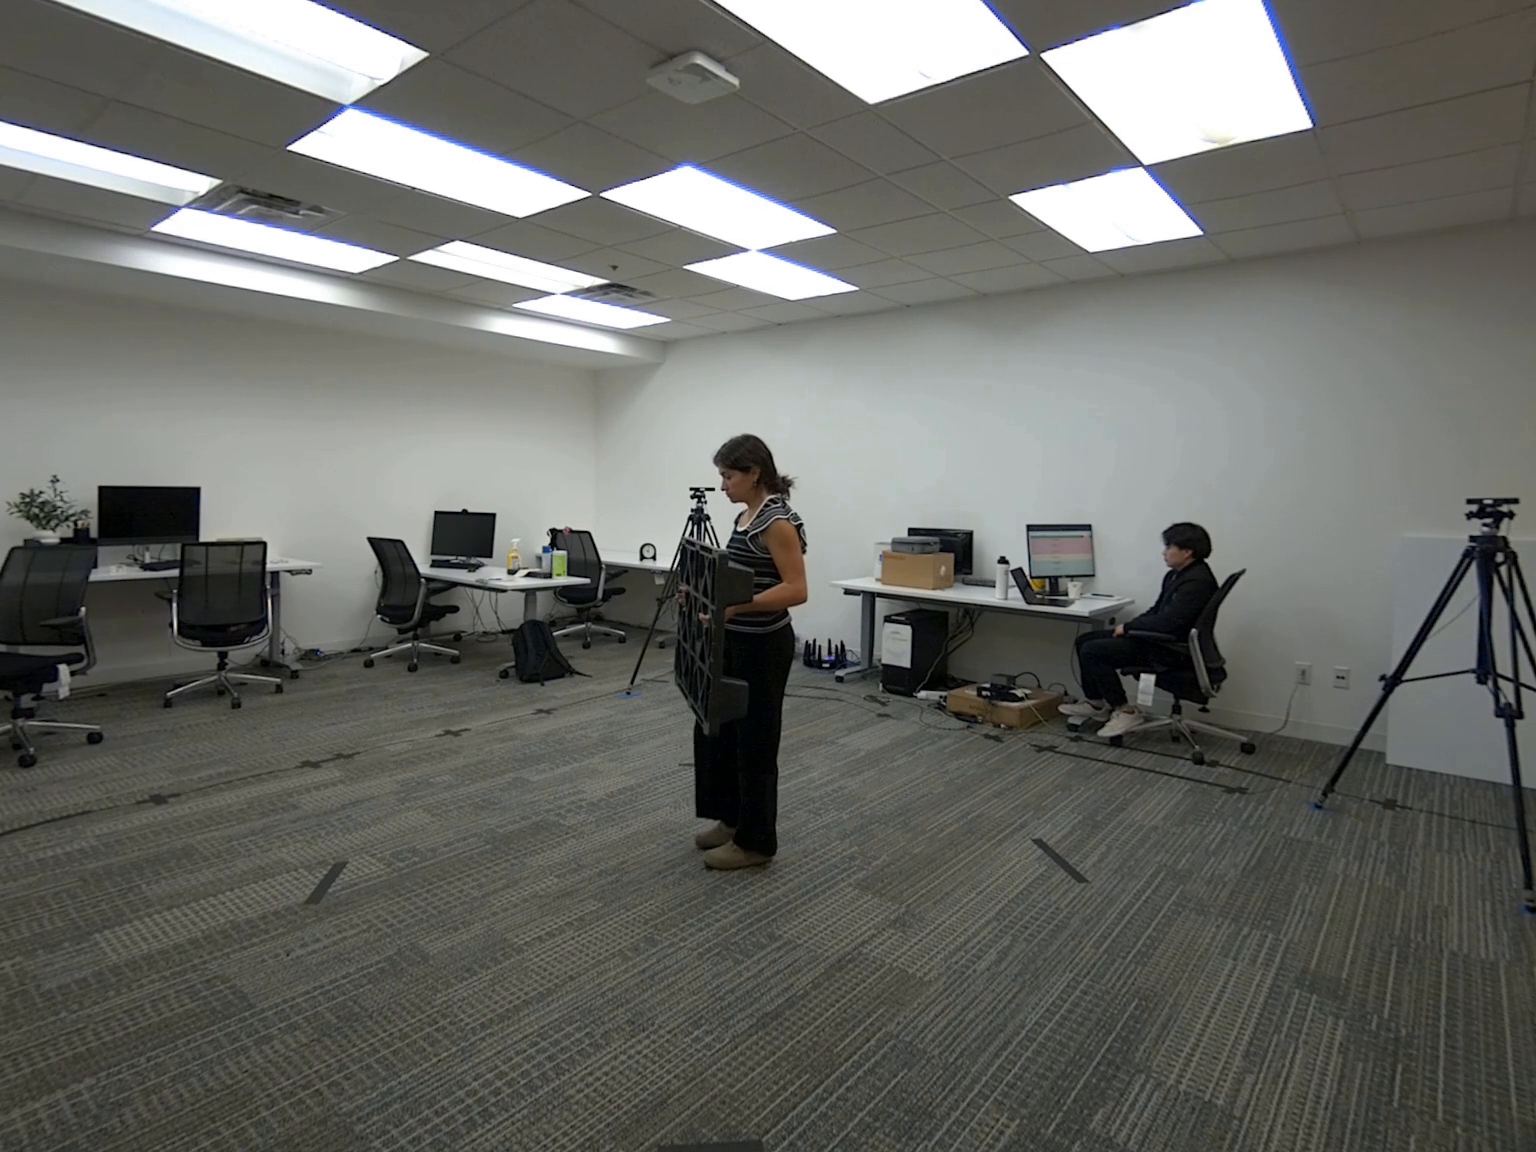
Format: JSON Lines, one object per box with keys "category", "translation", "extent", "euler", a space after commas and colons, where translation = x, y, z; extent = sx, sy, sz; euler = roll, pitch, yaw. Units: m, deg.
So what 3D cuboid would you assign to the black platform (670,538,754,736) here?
{"category": "black platform", "translation": [-0.225, 0.177, 3.098], "extent": [0.141, 0.603, 0.820], "euler": [2, 4, -15]}
